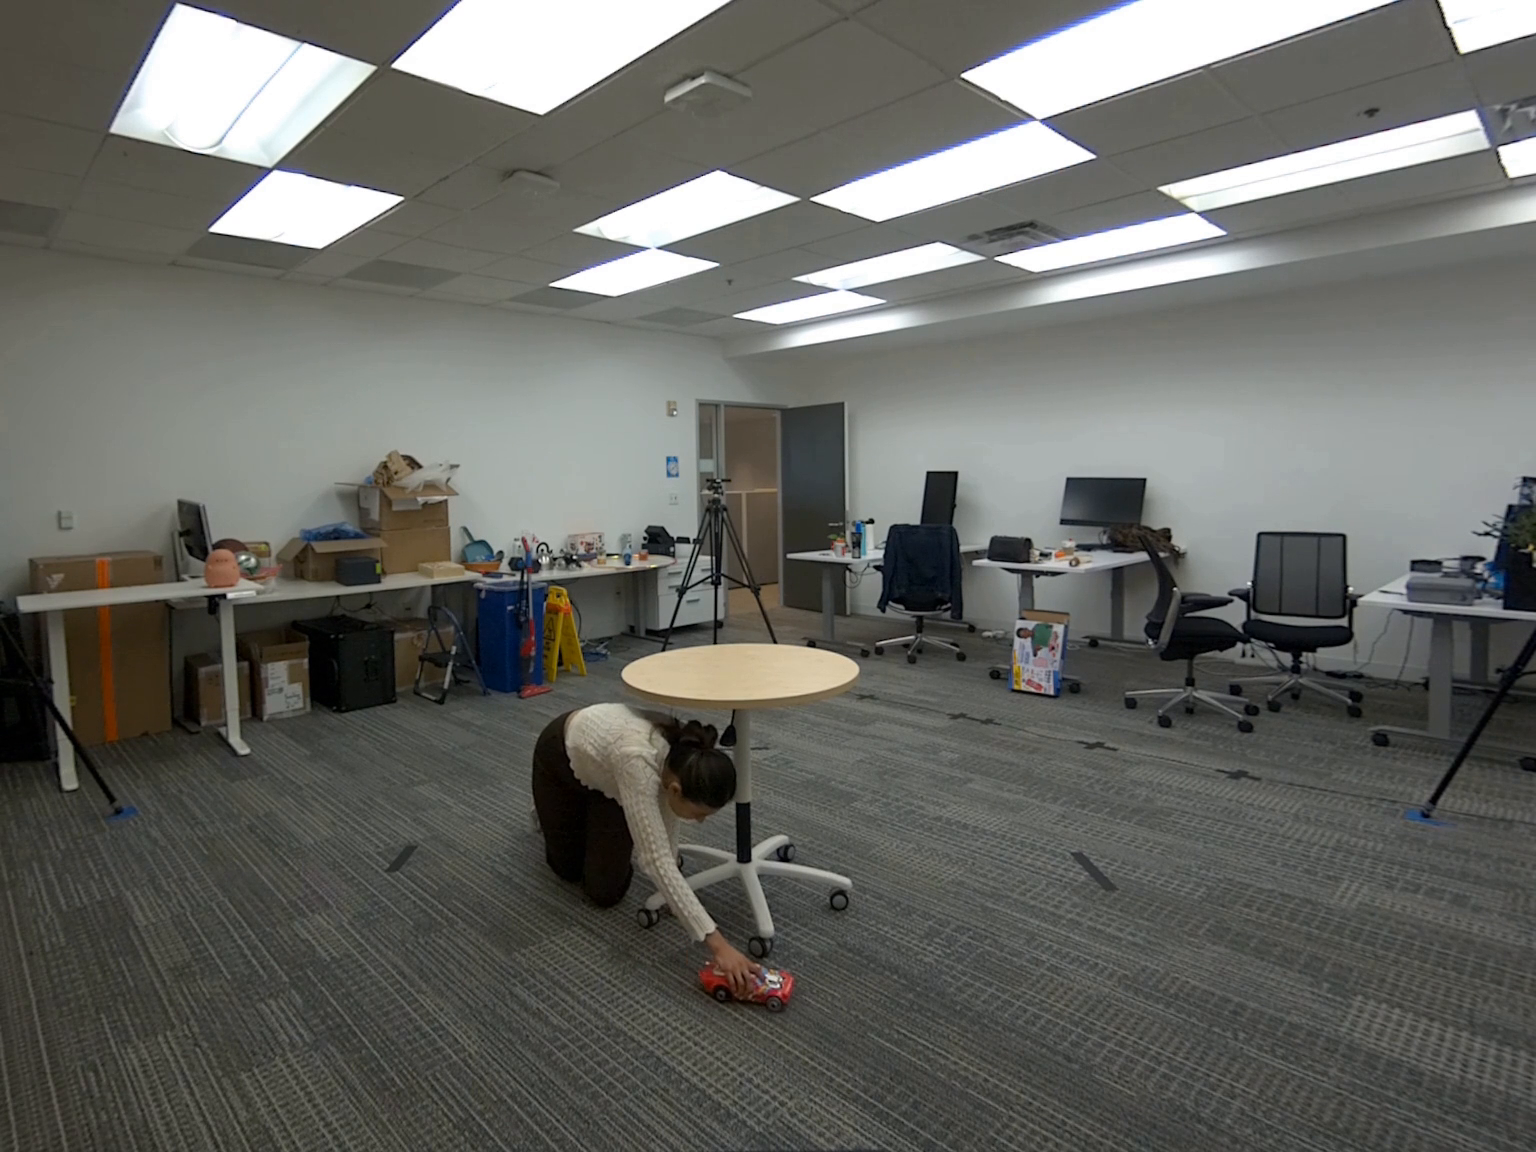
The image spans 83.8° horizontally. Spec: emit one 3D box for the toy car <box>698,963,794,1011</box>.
[{"bbox_3d":[-0.066,1.111,2.325,0.259,0.083,0.128,13,10,17],"label":"toy car"}]
